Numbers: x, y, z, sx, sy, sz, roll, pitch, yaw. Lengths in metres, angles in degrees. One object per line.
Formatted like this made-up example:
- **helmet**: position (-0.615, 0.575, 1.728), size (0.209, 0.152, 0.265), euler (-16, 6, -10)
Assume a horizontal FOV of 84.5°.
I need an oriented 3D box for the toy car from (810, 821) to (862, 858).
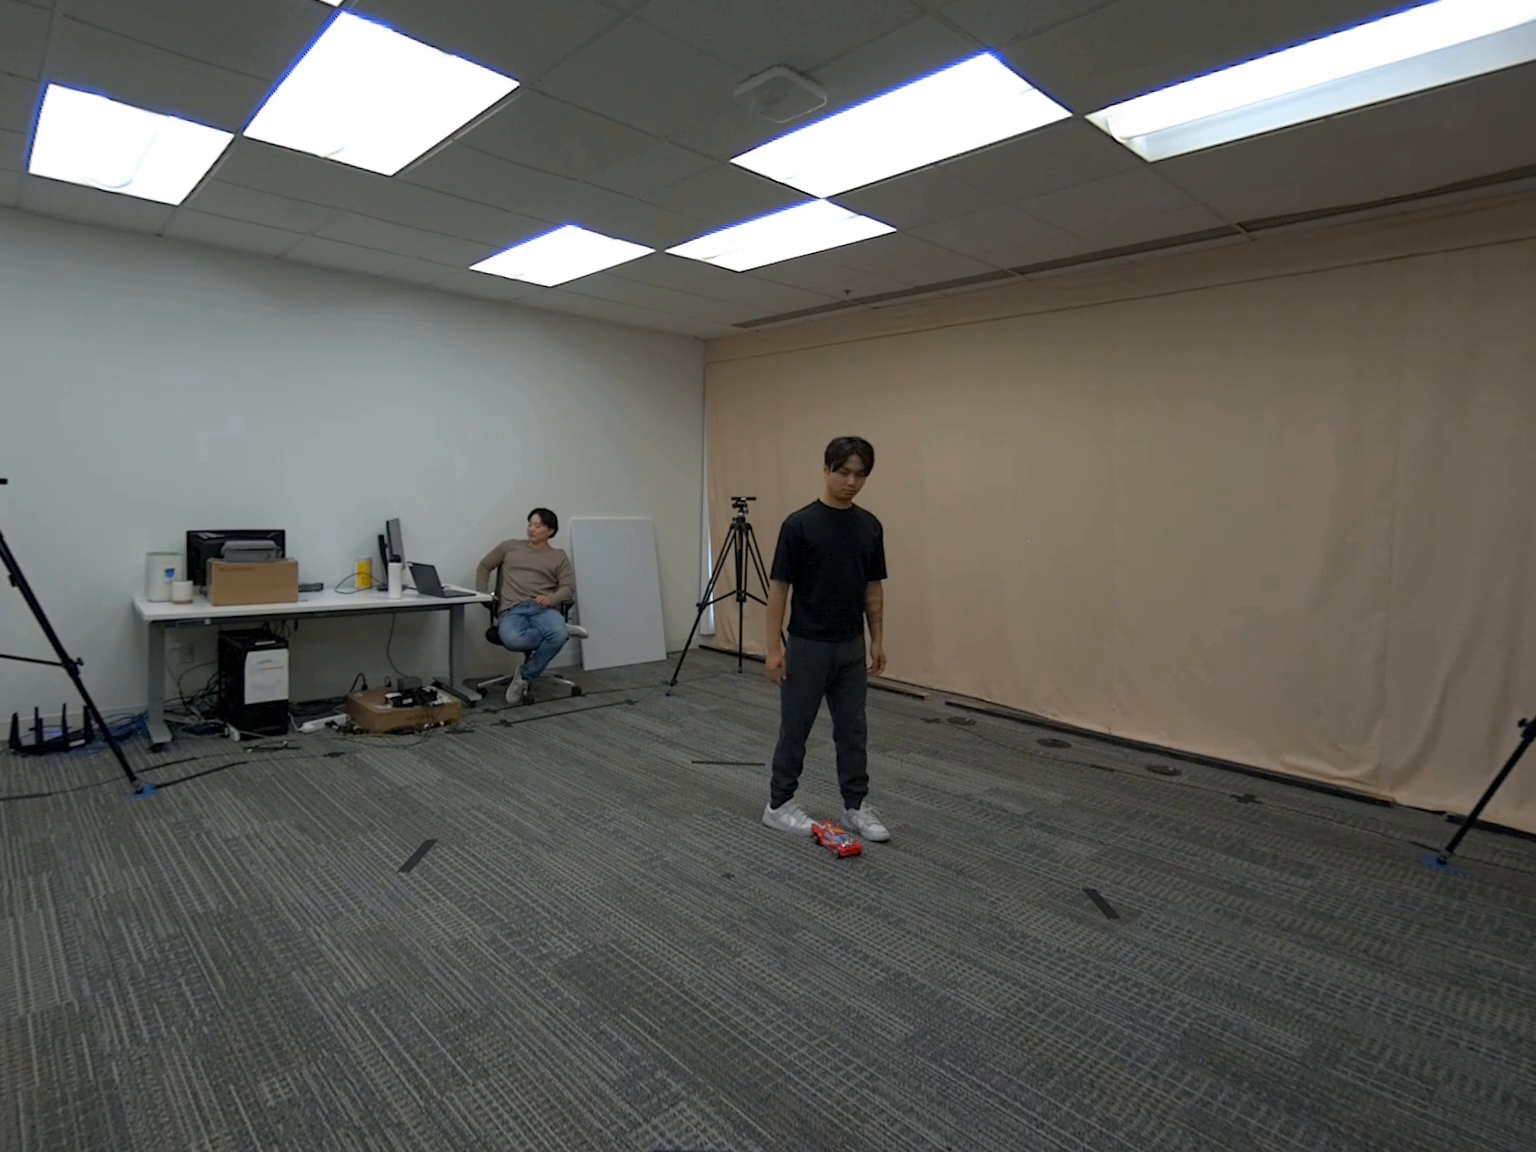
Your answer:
- **toy car**: position (0.259, 1.062, 3.388), size (0.128, 0.082, 0.261), euler (0, 15, -26)
